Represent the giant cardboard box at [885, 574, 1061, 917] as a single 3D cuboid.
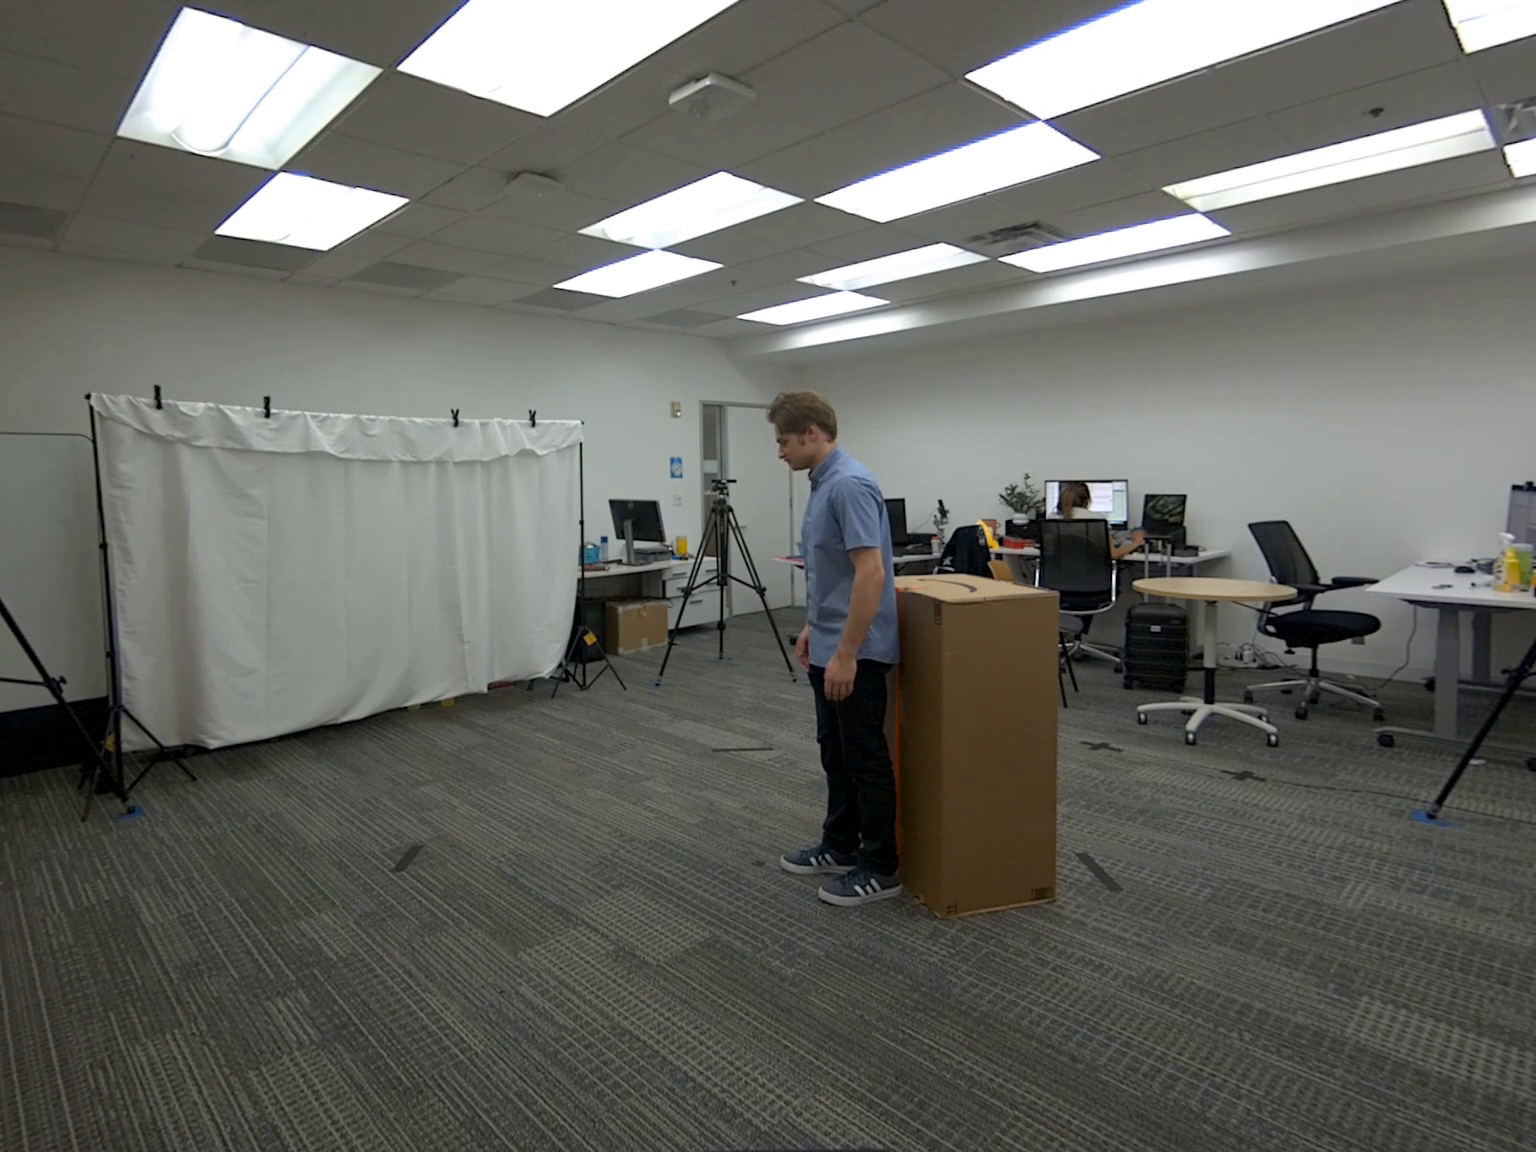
[{"bbox_3d":[0.656,0.544,2.982,0.440,1.023,0.596,-1,5,-18],"label":"giant cardboard box"}]
